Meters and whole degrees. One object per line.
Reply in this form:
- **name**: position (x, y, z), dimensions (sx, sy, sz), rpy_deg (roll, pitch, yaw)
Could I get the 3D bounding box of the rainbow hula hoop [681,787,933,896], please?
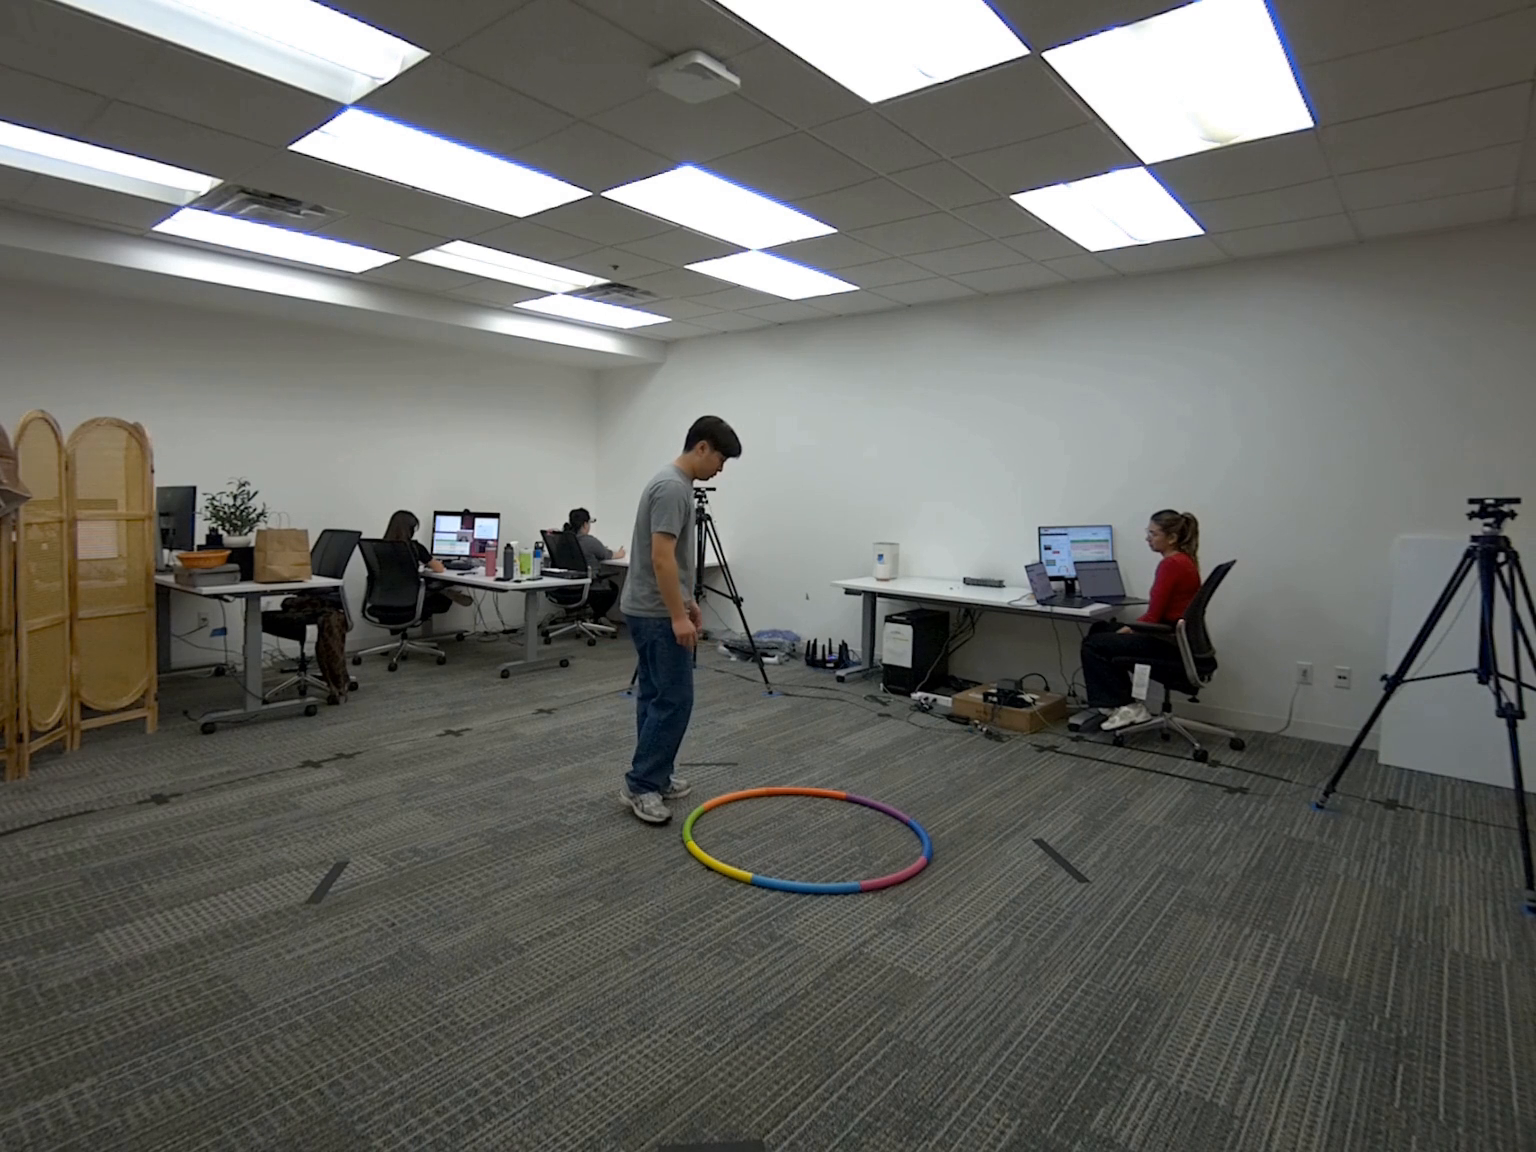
- **rainbow hula hoop**: position (0.139, 1.016, 3.401), dimensions (0.978, 0.035, 0.984), rpy_deg (1, 6, -2)
